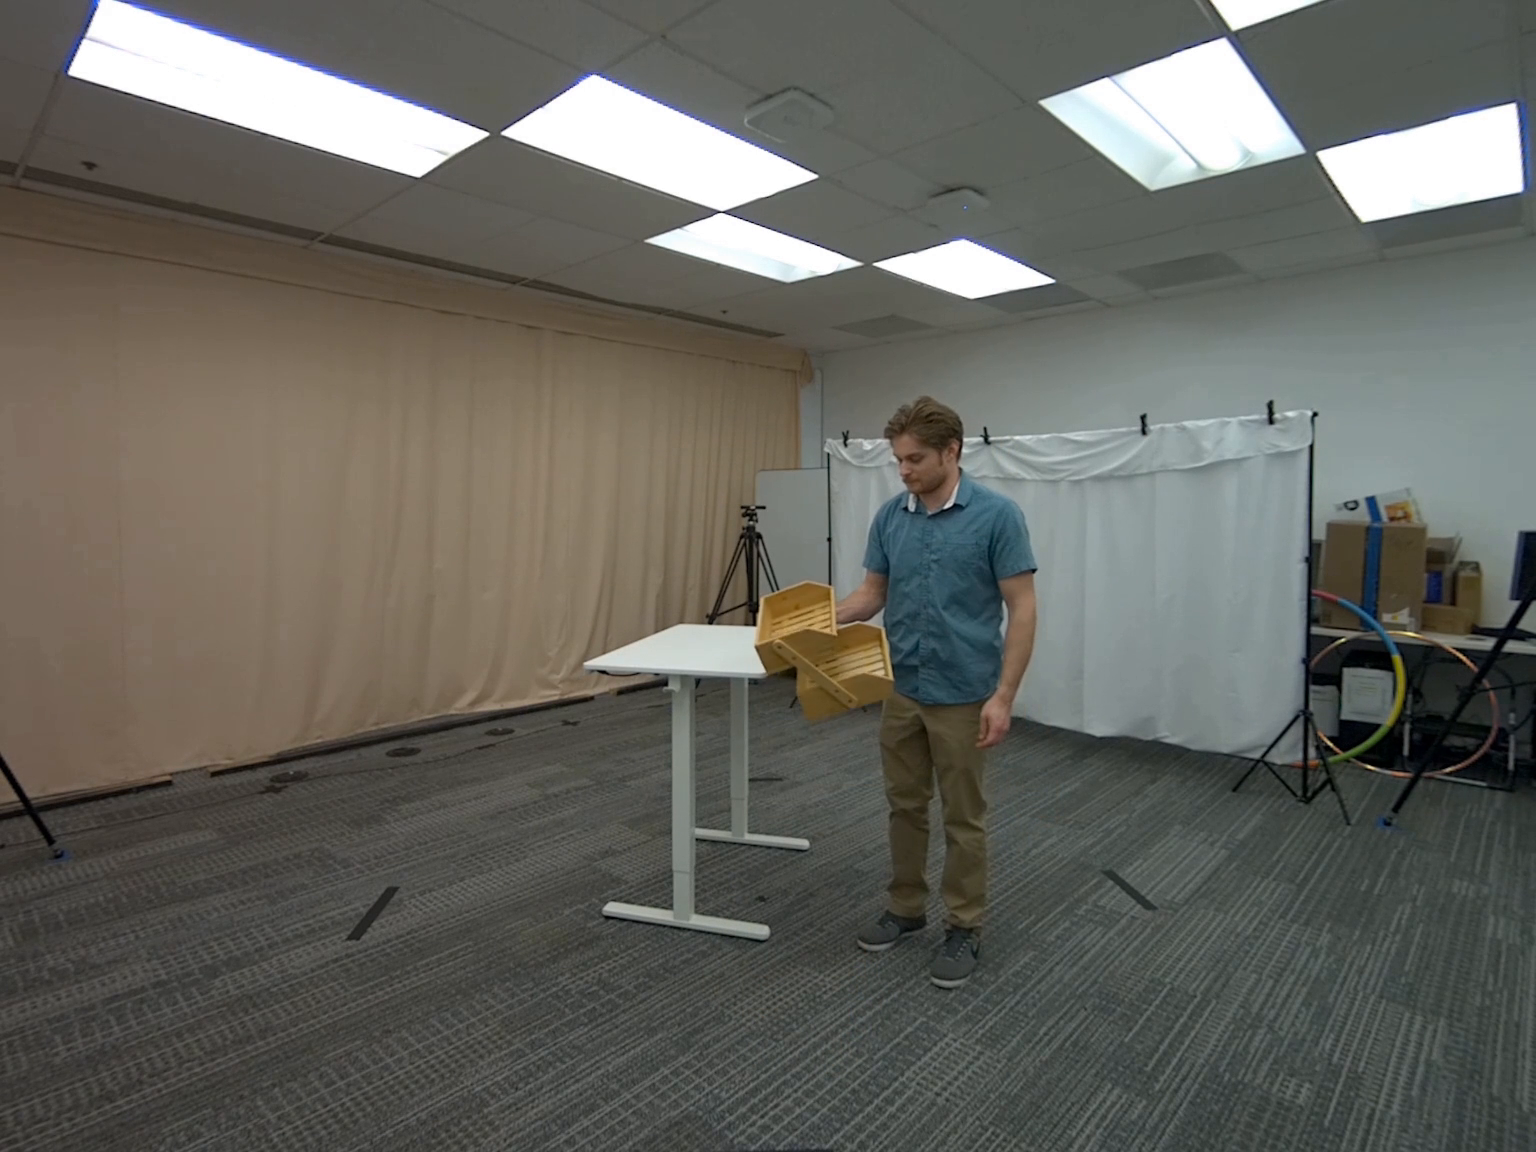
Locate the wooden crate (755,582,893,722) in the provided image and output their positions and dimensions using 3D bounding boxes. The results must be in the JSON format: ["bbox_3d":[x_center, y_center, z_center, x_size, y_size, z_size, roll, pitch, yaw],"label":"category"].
[{"bbox_3d":[0.176,0.193,2.296,0.305,0.269,0.326,-20,18,14],"label":"wooden crate"}]
